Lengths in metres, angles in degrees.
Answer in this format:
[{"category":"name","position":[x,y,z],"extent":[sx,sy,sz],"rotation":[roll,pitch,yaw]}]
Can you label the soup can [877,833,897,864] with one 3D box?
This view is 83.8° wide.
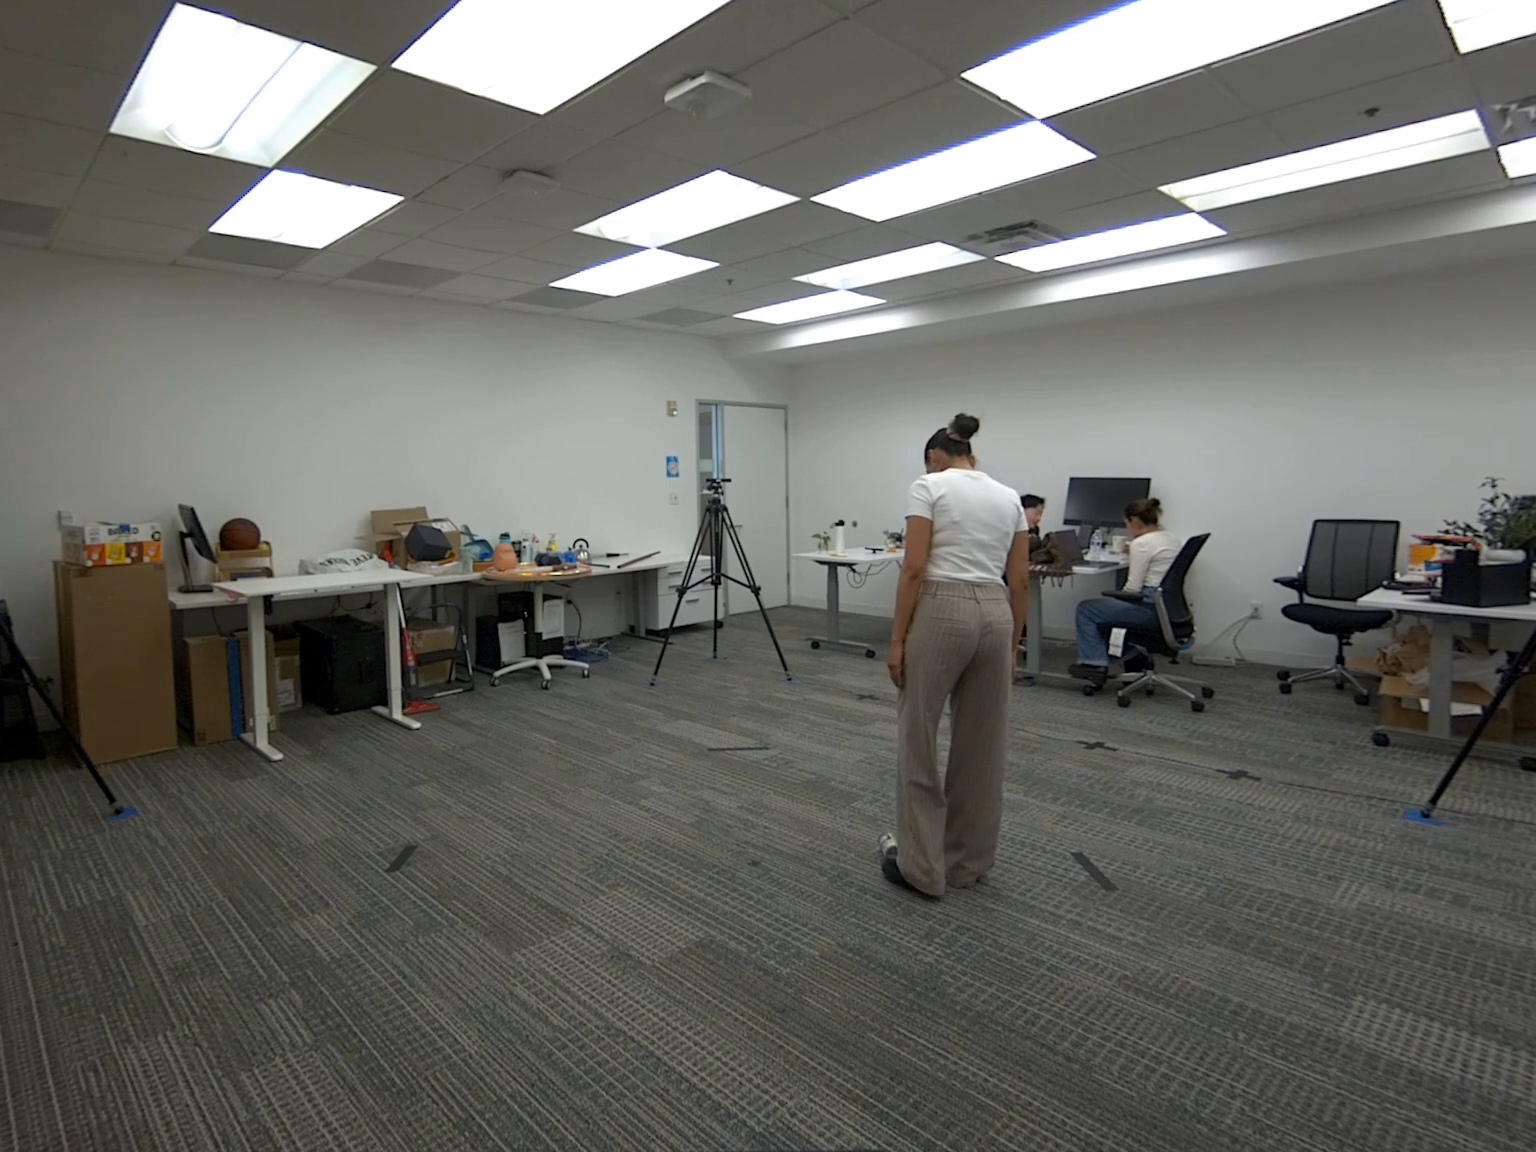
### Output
[{"category":"soup can","position":[0.456,0.996,3.145],"extent":[0.067,0.067,0.122],"rotation":[-1,3,-4]}]
